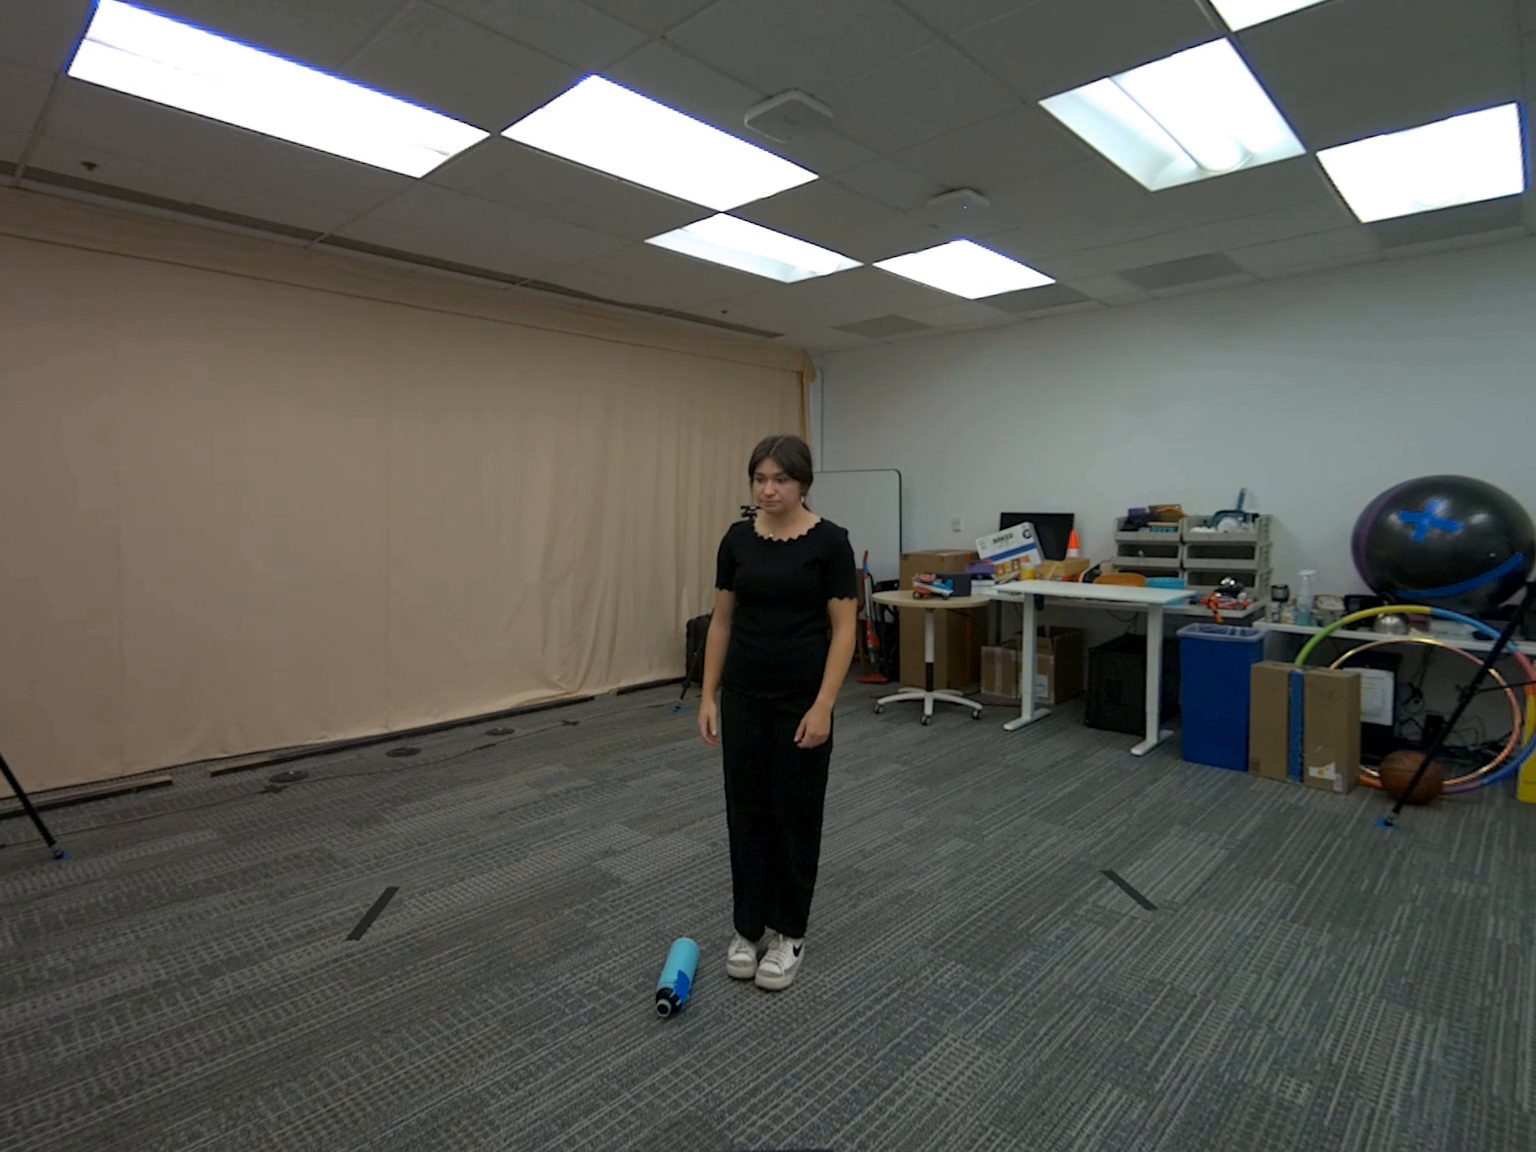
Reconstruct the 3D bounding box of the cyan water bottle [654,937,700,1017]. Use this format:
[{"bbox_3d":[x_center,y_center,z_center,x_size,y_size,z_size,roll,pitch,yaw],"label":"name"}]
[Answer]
[{"bbox_3d":[-0.260,1.150,2.401,0.093,0.092,0.281,0,3,6],"label":"cyan water bottle"}]
